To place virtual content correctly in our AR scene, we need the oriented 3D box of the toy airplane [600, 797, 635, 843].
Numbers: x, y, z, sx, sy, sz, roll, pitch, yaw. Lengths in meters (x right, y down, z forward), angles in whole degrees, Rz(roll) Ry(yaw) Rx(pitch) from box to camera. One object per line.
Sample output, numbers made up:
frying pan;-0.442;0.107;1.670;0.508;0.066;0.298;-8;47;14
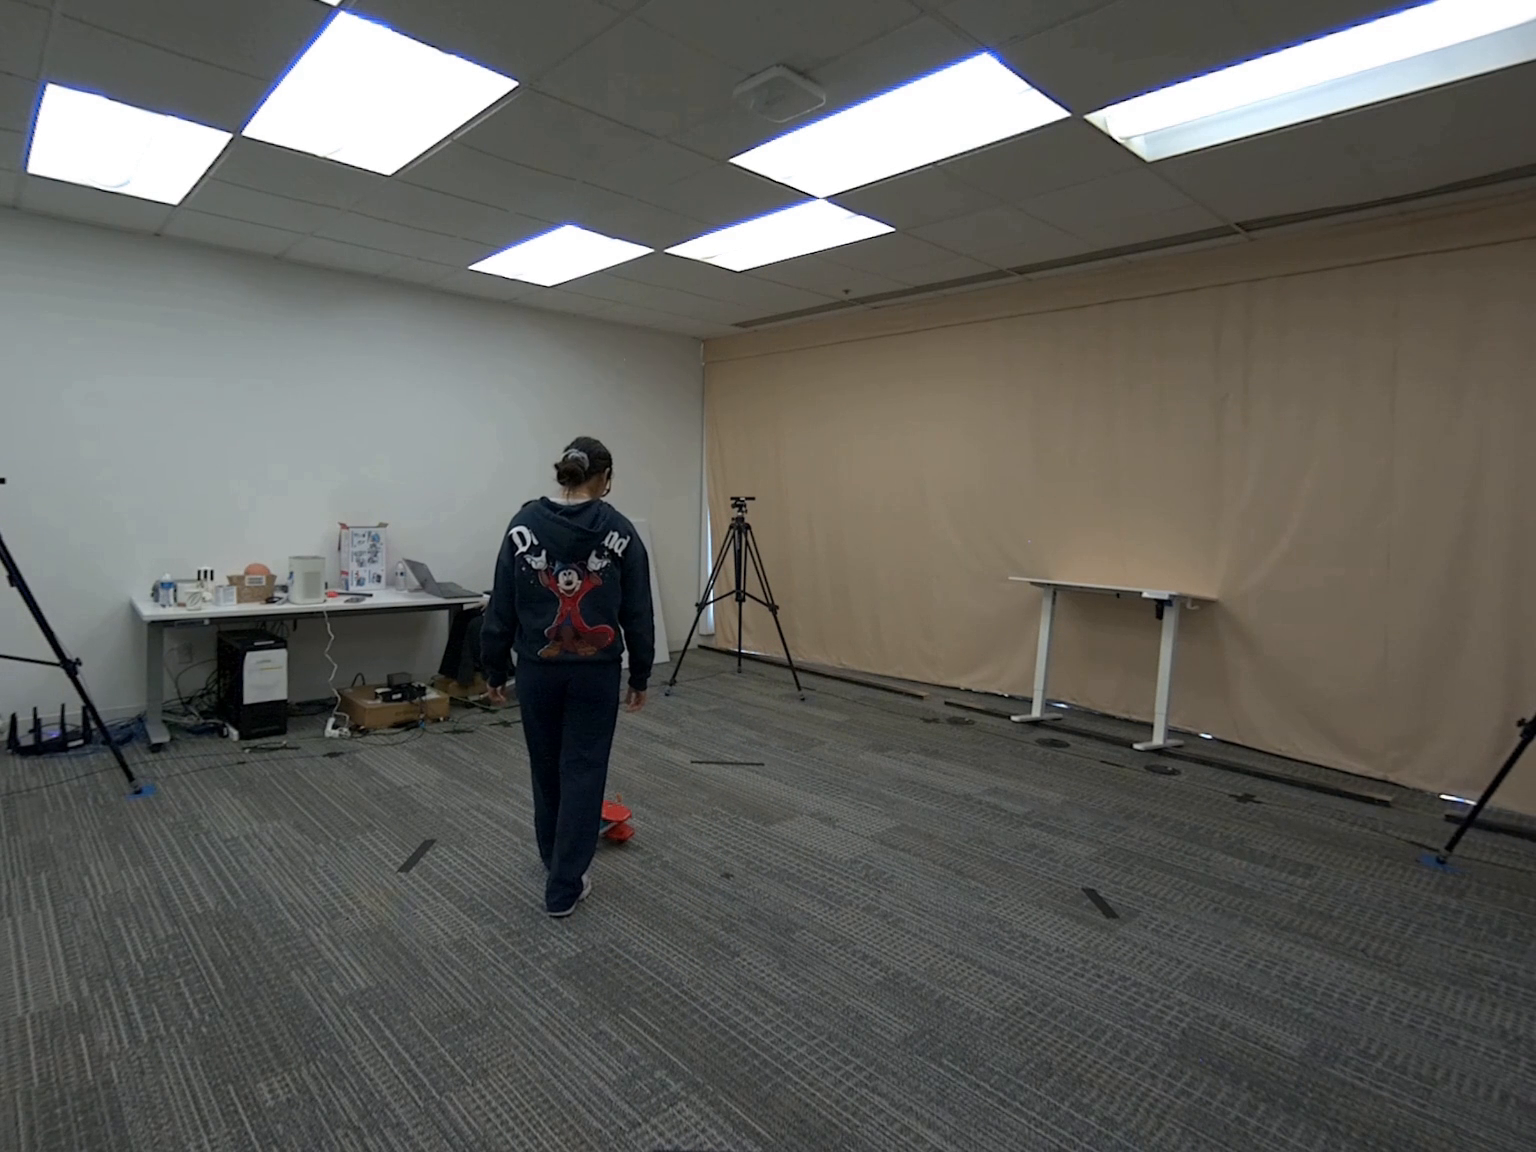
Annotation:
toy airplane;-0.661;1.002;3.331;0.252;0.156;0.258;1;3;6
